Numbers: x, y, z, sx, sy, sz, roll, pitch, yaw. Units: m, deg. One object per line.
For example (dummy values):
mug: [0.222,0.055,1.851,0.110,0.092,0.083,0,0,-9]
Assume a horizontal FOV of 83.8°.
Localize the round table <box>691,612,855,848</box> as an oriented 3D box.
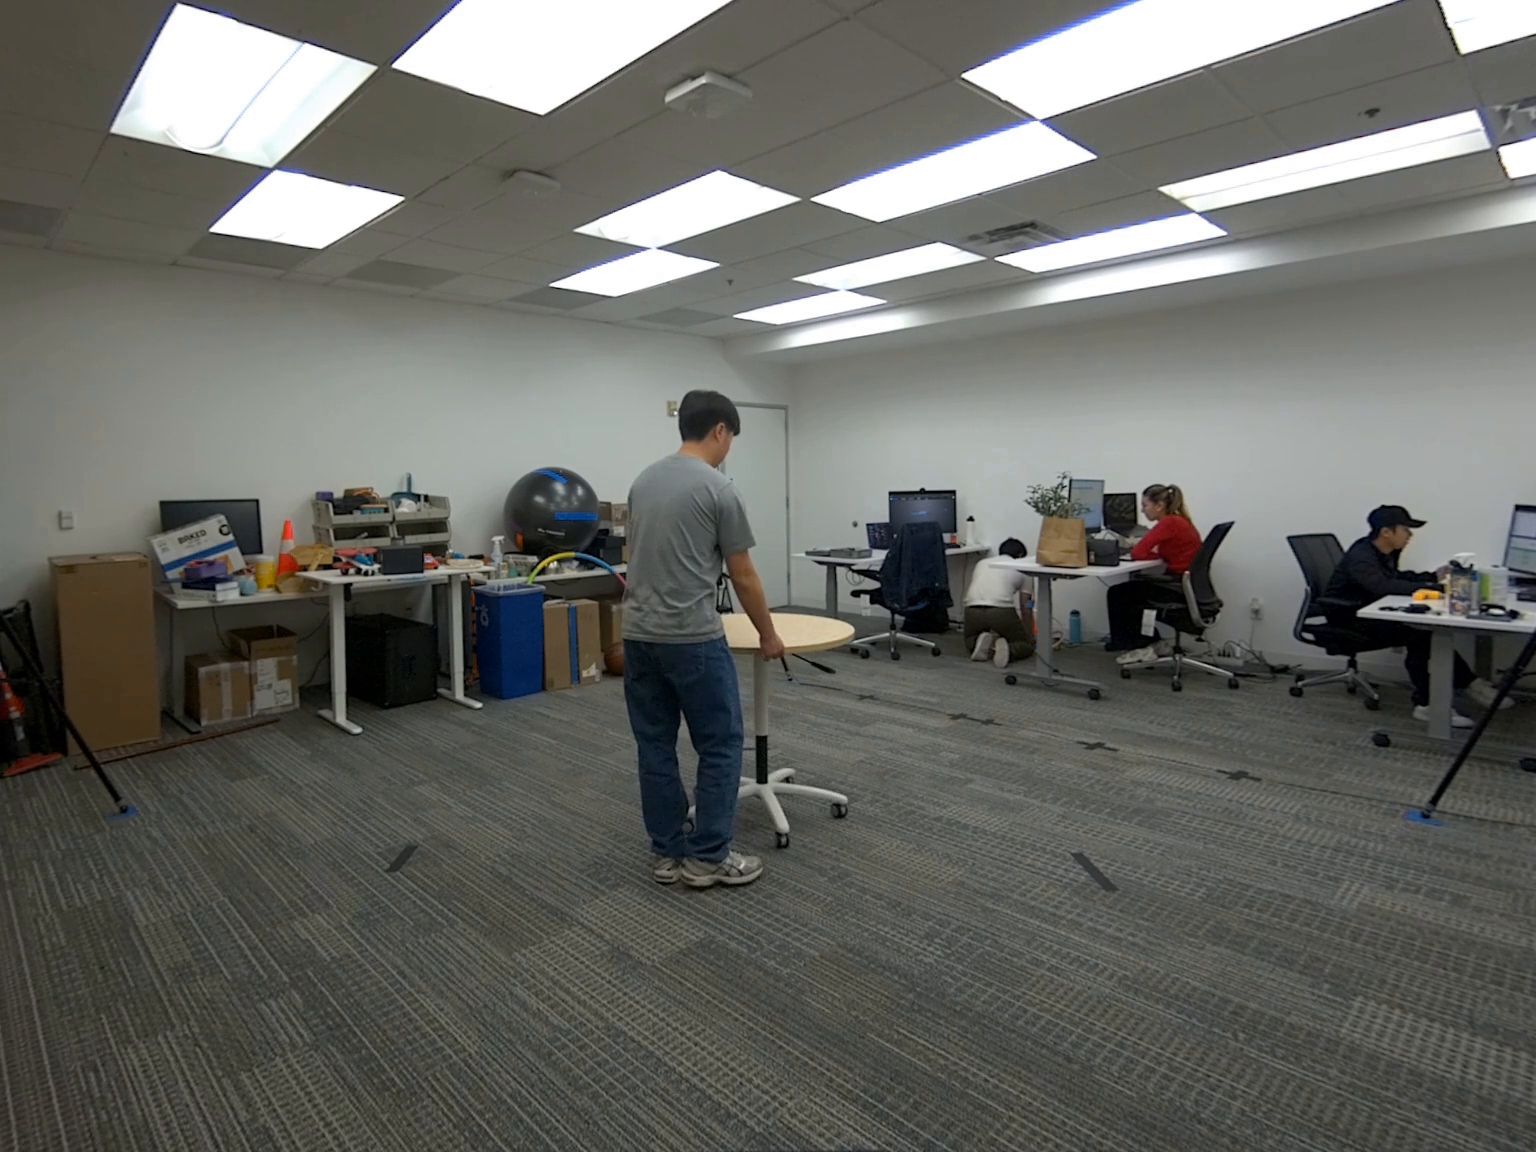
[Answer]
round table: [-0.024,0.608,3.519,0.763,0.790,0.768,-1,5,-2]
